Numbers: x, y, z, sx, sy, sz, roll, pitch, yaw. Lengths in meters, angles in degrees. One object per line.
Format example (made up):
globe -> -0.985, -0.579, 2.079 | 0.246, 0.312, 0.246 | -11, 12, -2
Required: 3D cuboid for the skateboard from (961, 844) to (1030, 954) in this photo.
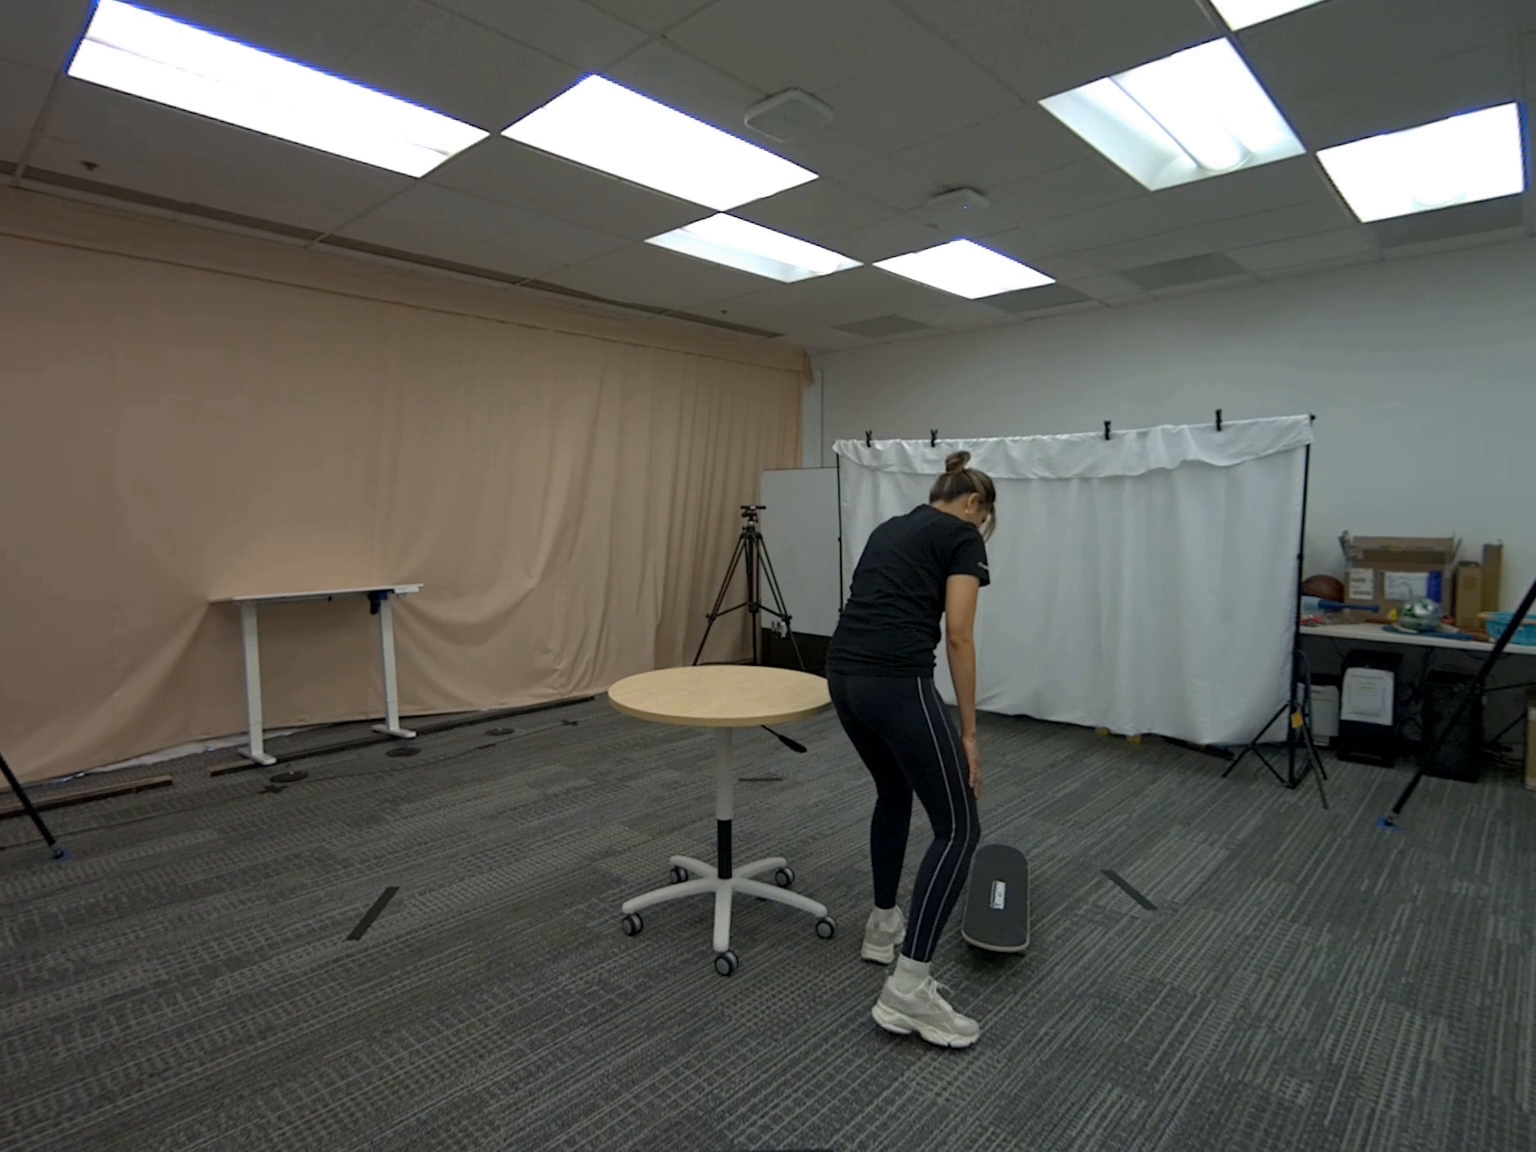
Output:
skateboard -> 0.775, 1.100, 2.815 | 0.197, 0.110, 0.771 | 1, 5, 18
